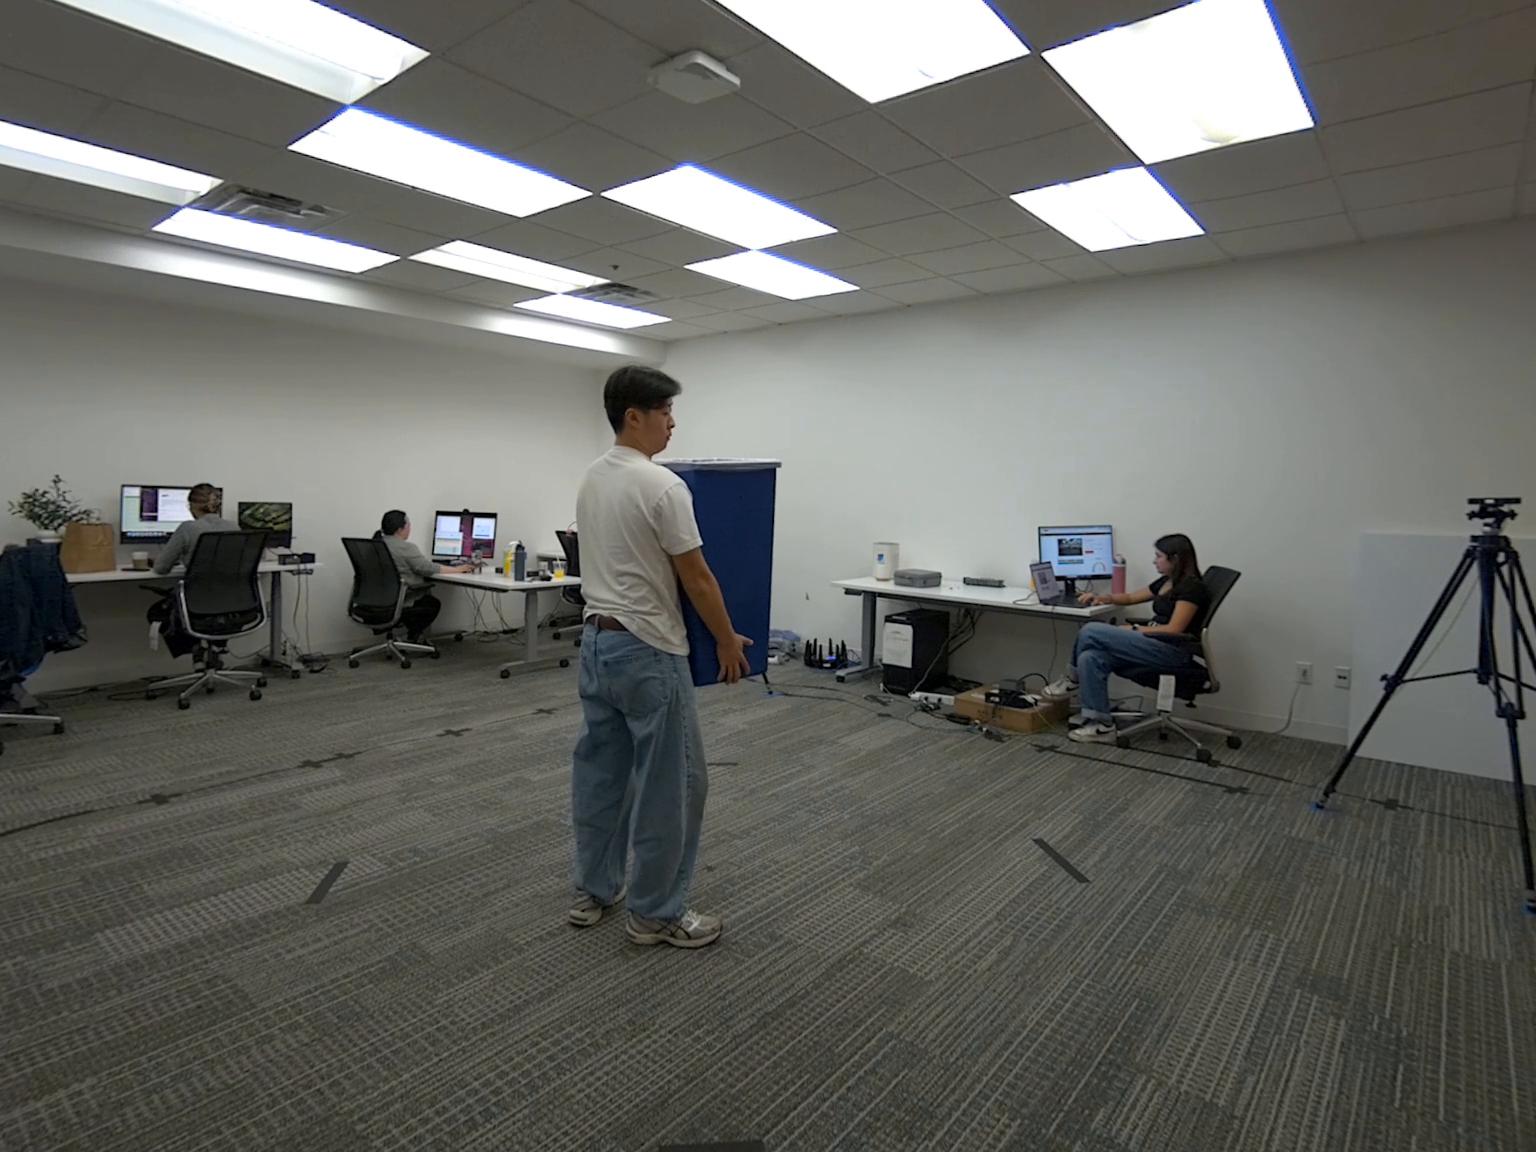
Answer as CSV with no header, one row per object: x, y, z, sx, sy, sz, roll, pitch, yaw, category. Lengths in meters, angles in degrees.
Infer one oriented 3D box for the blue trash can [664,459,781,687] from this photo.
-0.200,-0.036,2.848,0.367,0.709,0.387,-7,9,-41,blue trash can
